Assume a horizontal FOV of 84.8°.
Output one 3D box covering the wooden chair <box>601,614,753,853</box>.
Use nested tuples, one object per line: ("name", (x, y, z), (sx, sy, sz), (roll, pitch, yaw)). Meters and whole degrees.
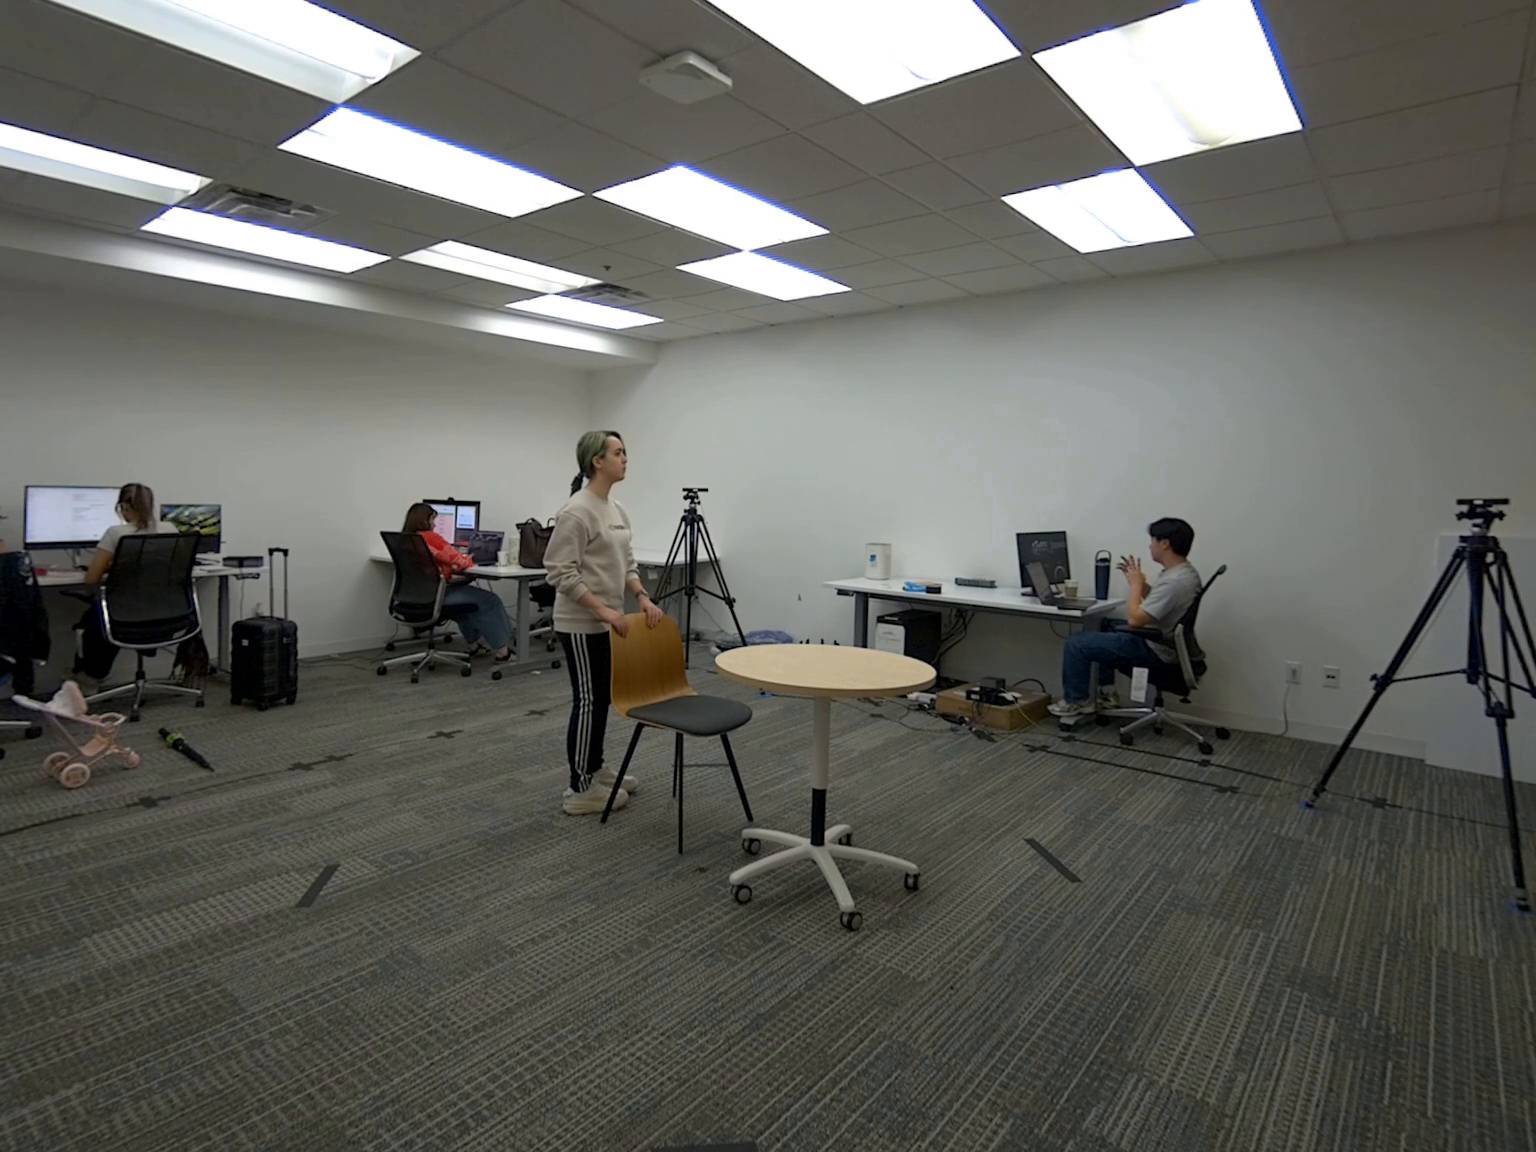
("wooden chair", (-0.368, 0.600, 3.512), (0.539, 0.878, 0.464), (-3, 0, 39))
